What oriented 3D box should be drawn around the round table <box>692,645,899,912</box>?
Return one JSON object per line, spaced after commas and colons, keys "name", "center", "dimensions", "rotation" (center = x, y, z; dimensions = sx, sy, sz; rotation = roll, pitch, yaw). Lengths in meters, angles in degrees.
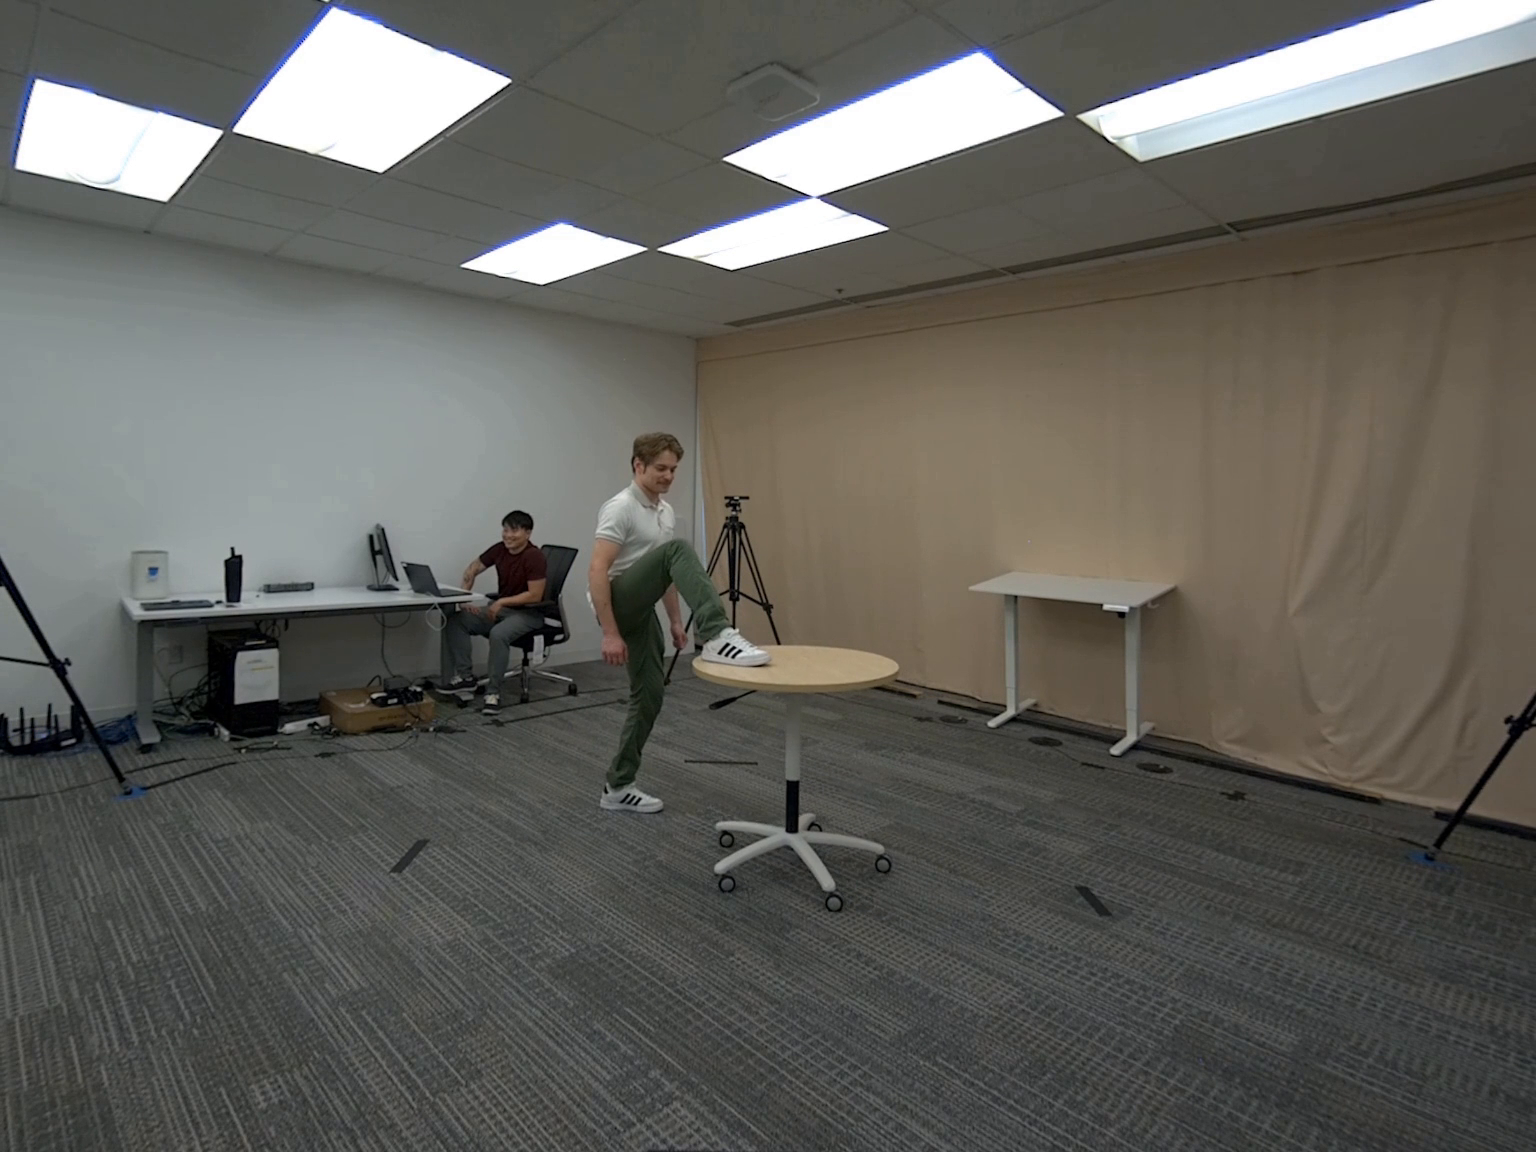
{"name": "round table", "center": [0.102, 0.718, 3.152], "dimensions": [0.763, 0.792, 0.766], "rotation": [1, 4, -1]}
